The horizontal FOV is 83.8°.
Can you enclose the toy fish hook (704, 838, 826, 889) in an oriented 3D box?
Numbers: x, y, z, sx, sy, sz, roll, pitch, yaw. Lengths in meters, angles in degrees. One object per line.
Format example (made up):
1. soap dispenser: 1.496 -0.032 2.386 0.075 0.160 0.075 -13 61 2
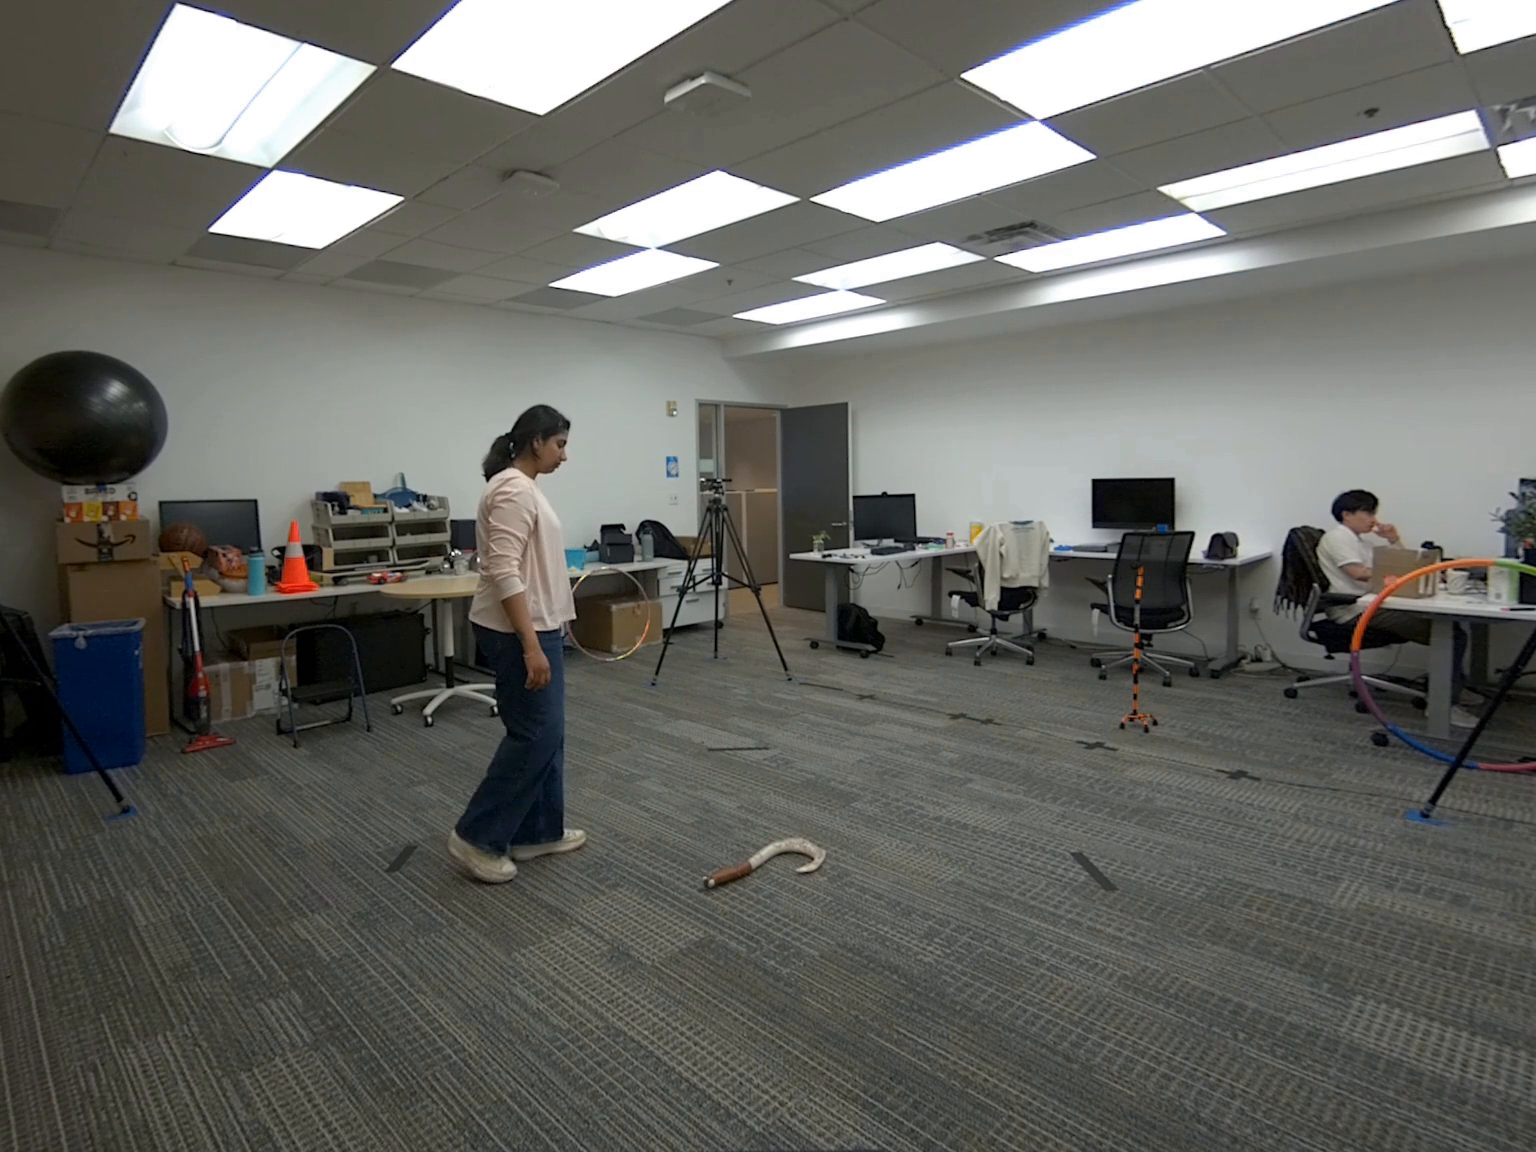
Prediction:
1. toy fish hook: 0.000 1.025 3.026 0.493 0.048 0.231 -7 8 -42
